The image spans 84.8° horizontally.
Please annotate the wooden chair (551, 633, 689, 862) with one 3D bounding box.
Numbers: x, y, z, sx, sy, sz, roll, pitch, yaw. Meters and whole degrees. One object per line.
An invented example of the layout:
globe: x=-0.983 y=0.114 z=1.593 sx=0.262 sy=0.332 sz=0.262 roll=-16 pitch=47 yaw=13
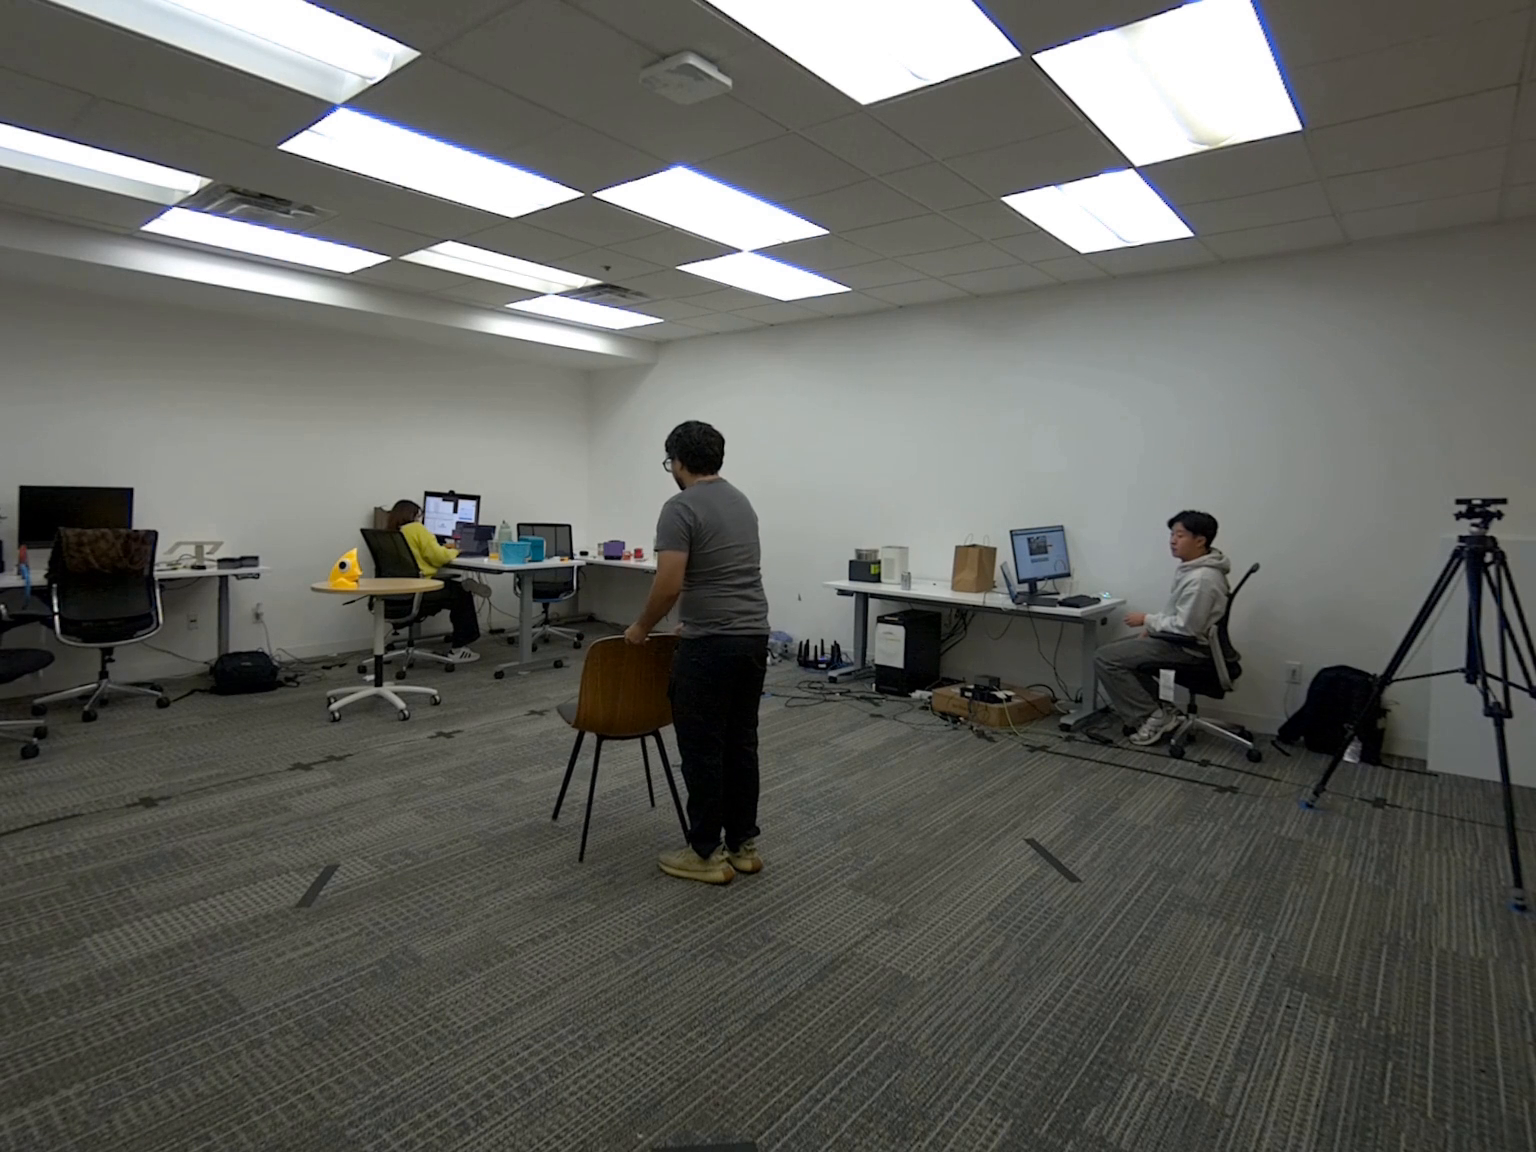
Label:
wooden chair: x=-0.605 y=0.606 z=3.422 sx=0.467 sy=0.872 sz=0.539 roll=-1 pitch=8 yaw=-25
